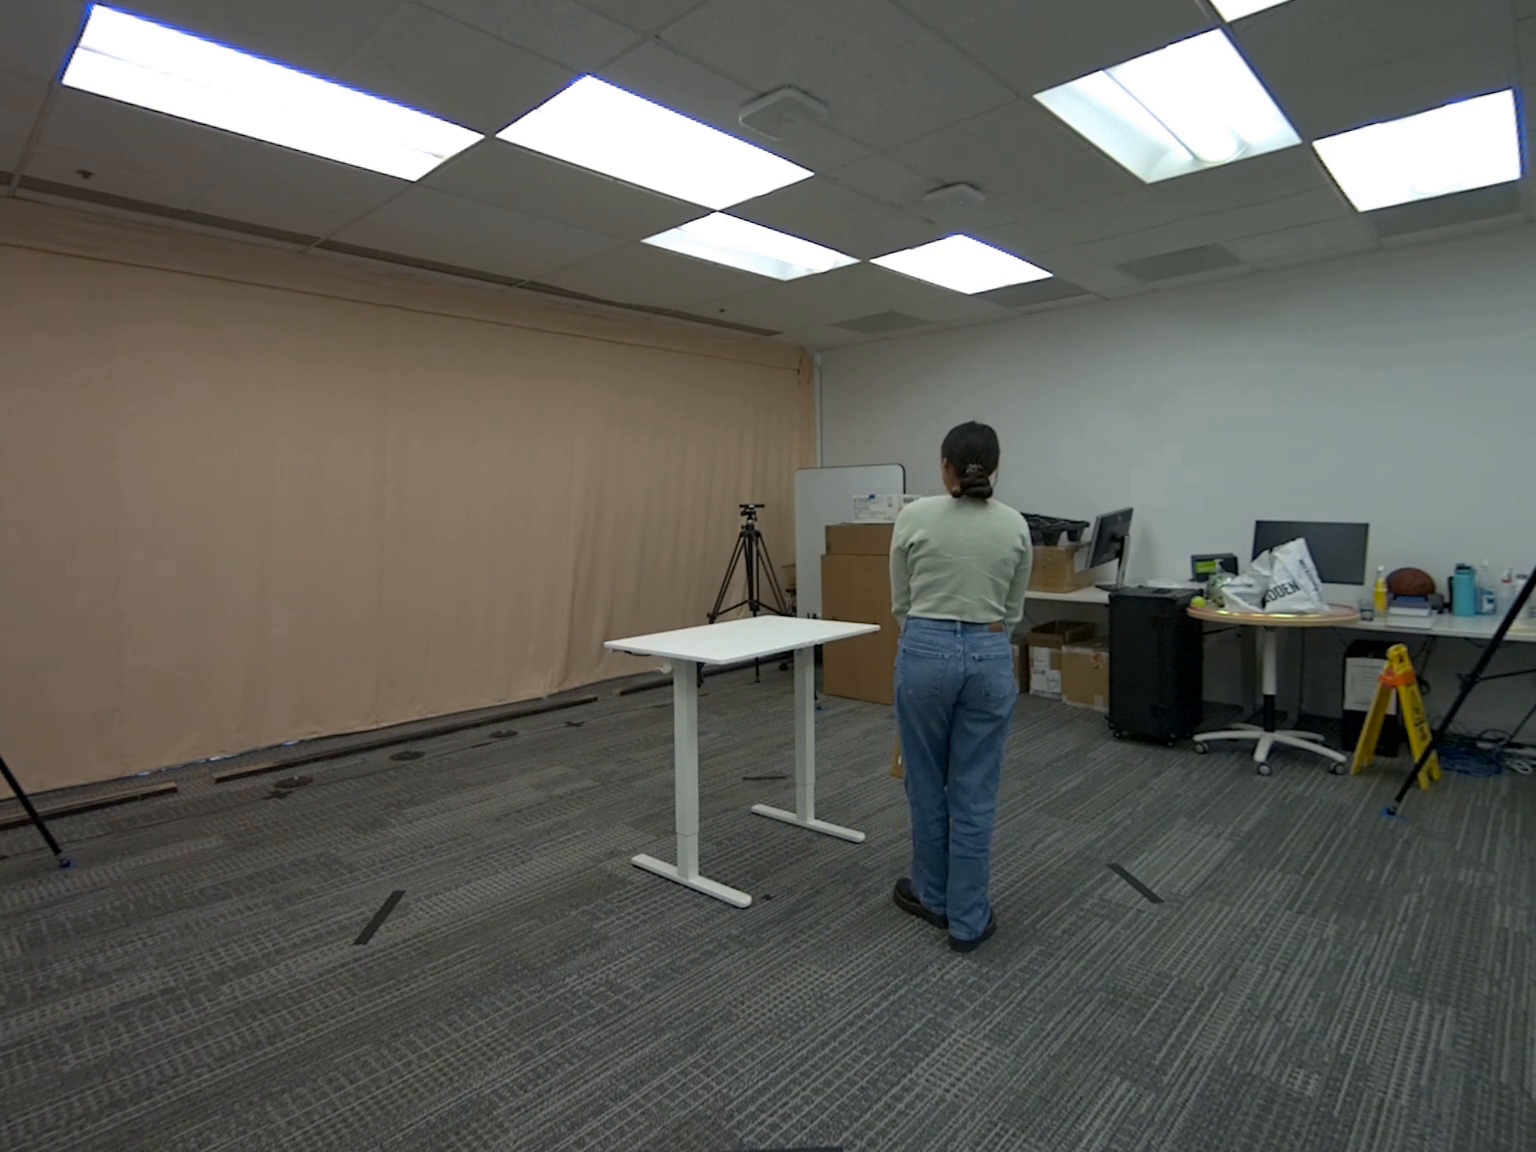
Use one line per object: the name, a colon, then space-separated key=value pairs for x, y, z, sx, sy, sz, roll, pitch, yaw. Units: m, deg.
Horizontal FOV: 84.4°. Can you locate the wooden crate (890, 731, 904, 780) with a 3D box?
wooden crate: x=0.618 y=0.530 z=2.919 sx=0.281 sy=0.321 sz=0.296 roll=12 pitch=20 yaw=26
